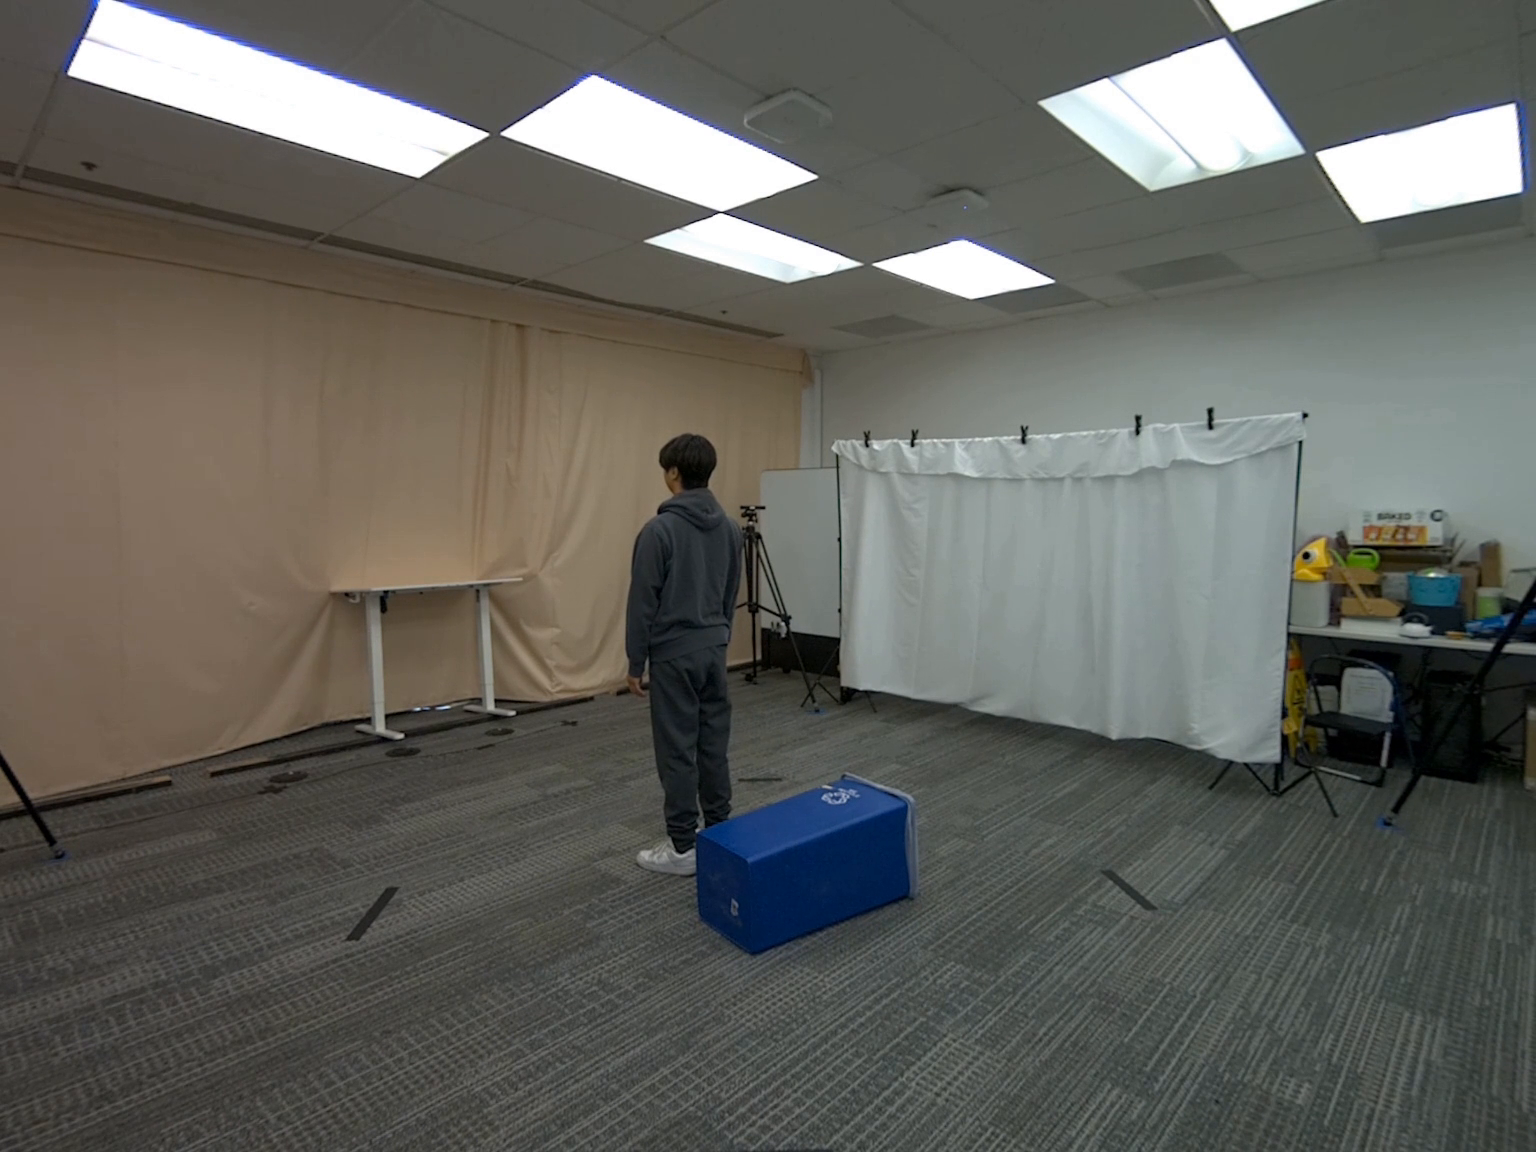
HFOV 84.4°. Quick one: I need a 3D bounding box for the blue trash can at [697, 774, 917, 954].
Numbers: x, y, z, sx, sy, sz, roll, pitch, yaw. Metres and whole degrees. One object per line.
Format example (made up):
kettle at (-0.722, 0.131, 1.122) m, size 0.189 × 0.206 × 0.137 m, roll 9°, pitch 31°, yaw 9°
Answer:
blue trash can at (0.144, 0.984, 2.901) m, size 0.693 × 0.377 × 0.386 m, roll -7°, pitch 7°, yaw -37°
